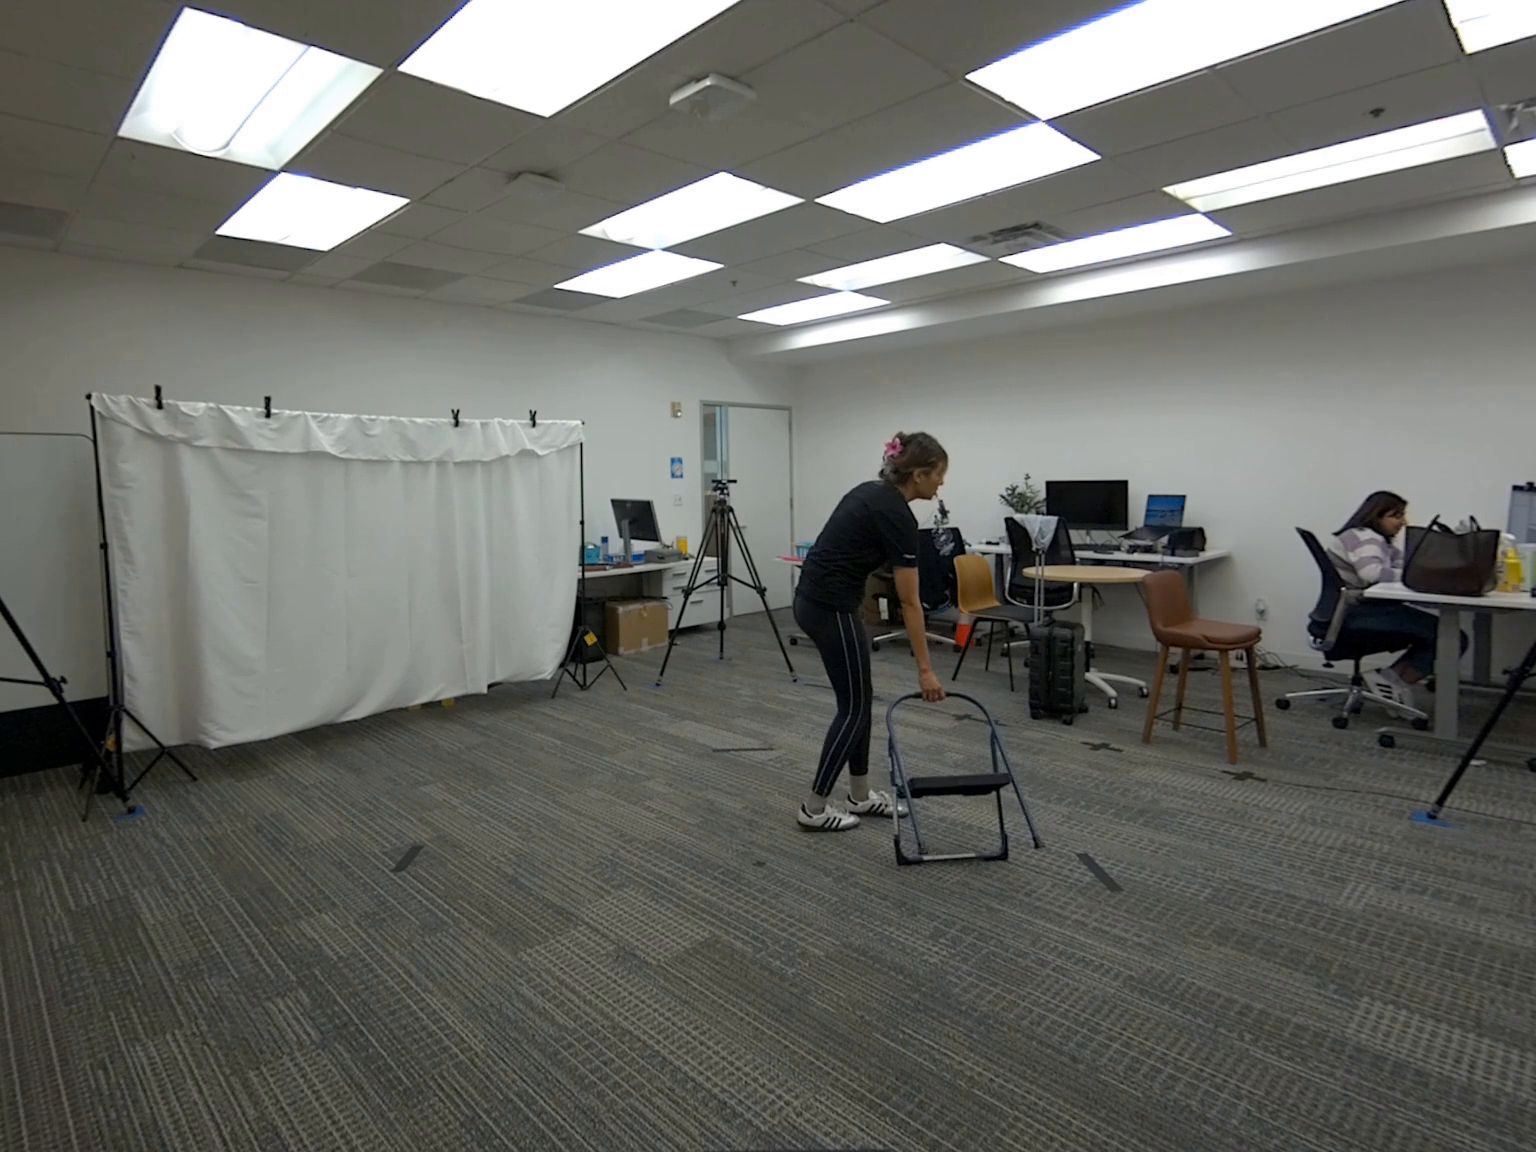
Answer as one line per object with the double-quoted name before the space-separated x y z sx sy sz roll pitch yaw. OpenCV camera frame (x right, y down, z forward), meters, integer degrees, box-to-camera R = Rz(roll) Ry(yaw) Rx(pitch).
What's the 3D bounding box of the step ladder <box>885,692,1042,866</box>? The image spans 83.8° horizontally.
"step ladder" 0.670 0.697 3.085 0.428 0.620 0.343 -1 -26 -6
